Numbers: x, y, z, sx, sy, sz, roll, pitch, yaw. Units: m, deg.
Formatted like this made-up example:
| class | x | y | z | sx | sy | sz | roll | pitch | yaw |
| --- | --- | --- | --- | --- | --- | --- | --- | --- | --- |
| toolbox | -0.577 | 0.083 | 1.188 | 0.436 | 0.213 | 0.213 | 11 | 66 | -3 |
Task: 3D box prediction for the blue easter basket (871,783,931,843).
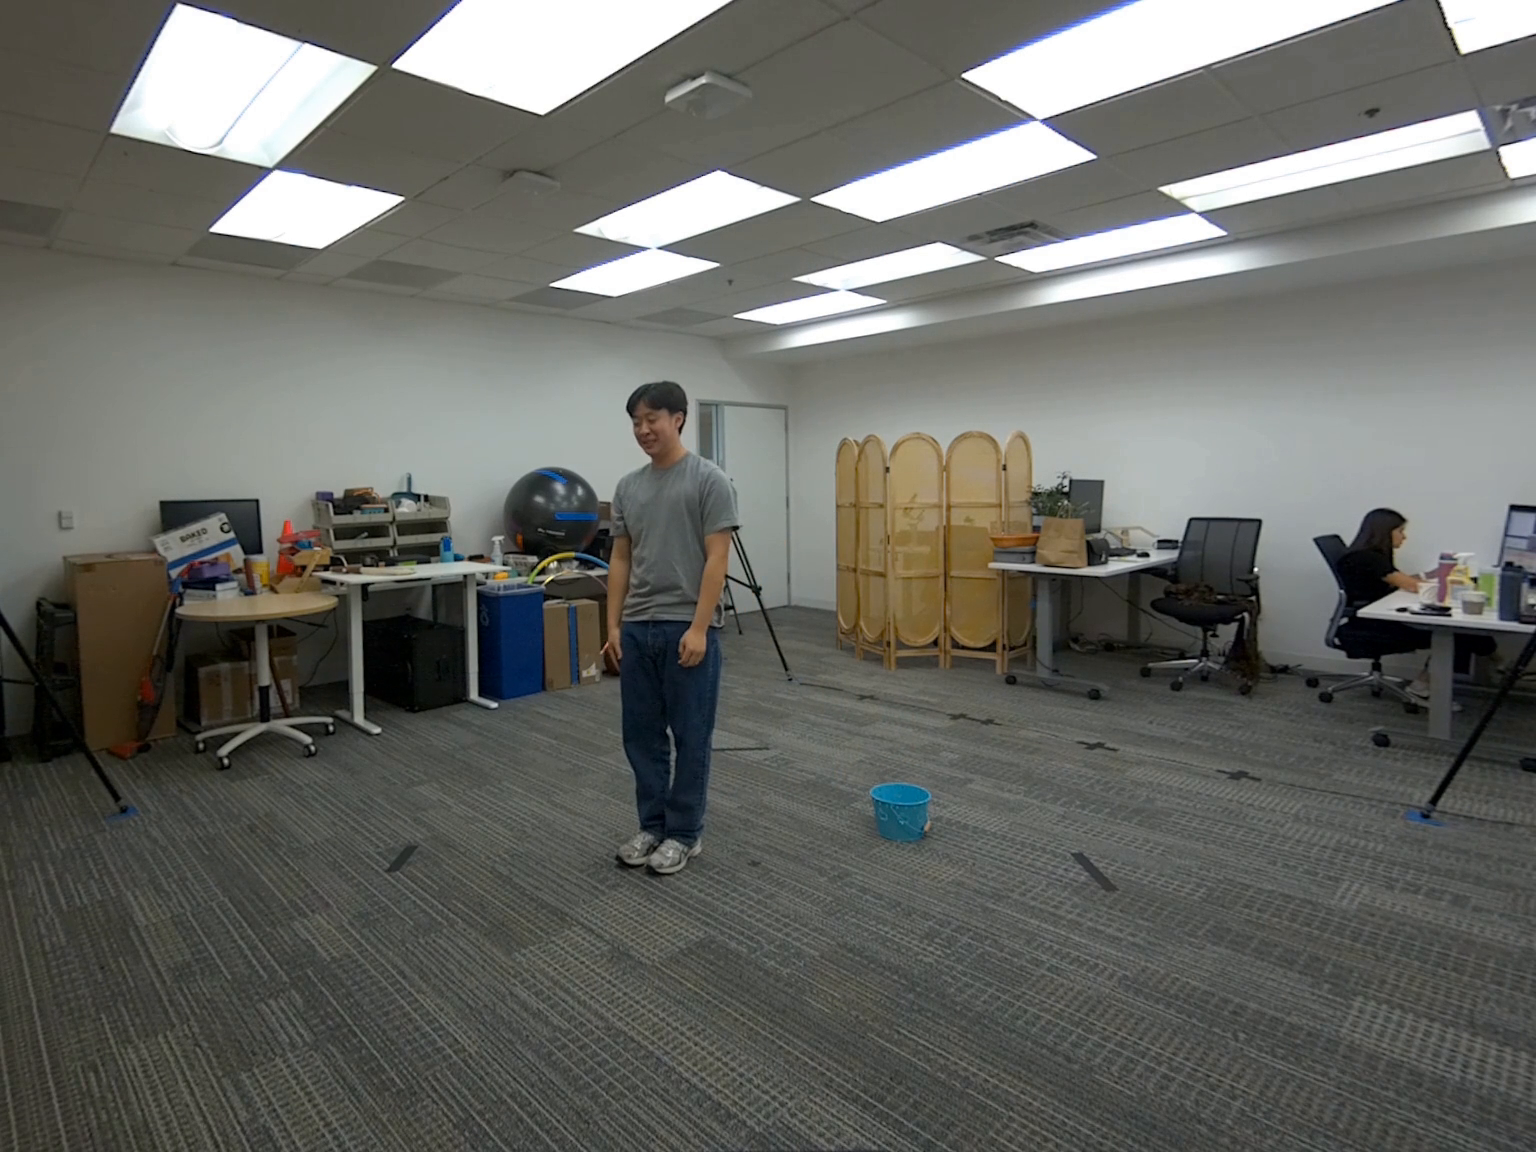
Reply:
| class | x | y | z | sx | sy | sz | roll | pitch | yaw |
| --- | --- | --- | --- | --- | --- | --- | --- | --- | --- |
| blue easter basket | 0.531 | 0.931 | 3.361 | 0.243 | 0.155 | 0.245 | -2 | 5 | -2 |
